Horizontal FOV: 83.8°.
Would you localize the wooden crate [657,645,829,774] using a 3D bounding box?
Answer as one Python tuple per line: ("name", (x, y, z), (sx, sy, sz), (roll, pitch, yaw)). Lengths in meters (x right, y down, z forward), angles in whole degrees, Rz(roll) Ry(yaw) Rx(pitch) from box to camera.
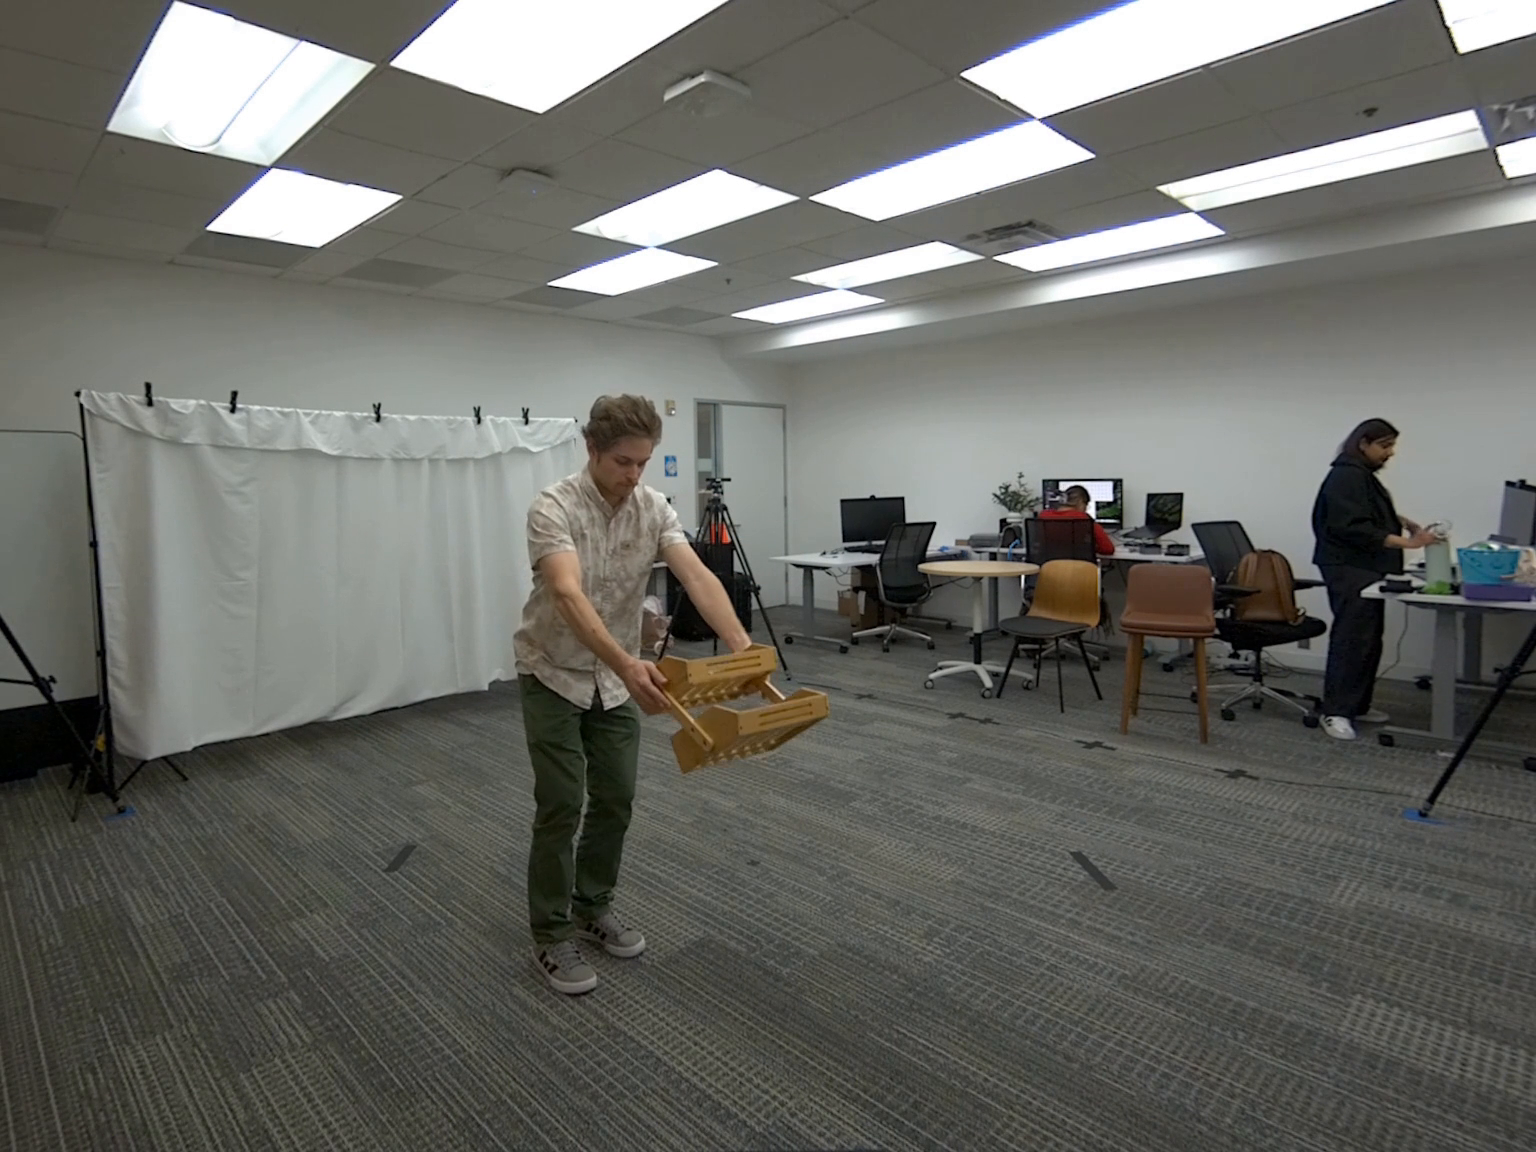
("wooden crate", (-0.078, 0.293, 2.074), (0.315, 0.281, 0.302), (-2, -31, -44))
